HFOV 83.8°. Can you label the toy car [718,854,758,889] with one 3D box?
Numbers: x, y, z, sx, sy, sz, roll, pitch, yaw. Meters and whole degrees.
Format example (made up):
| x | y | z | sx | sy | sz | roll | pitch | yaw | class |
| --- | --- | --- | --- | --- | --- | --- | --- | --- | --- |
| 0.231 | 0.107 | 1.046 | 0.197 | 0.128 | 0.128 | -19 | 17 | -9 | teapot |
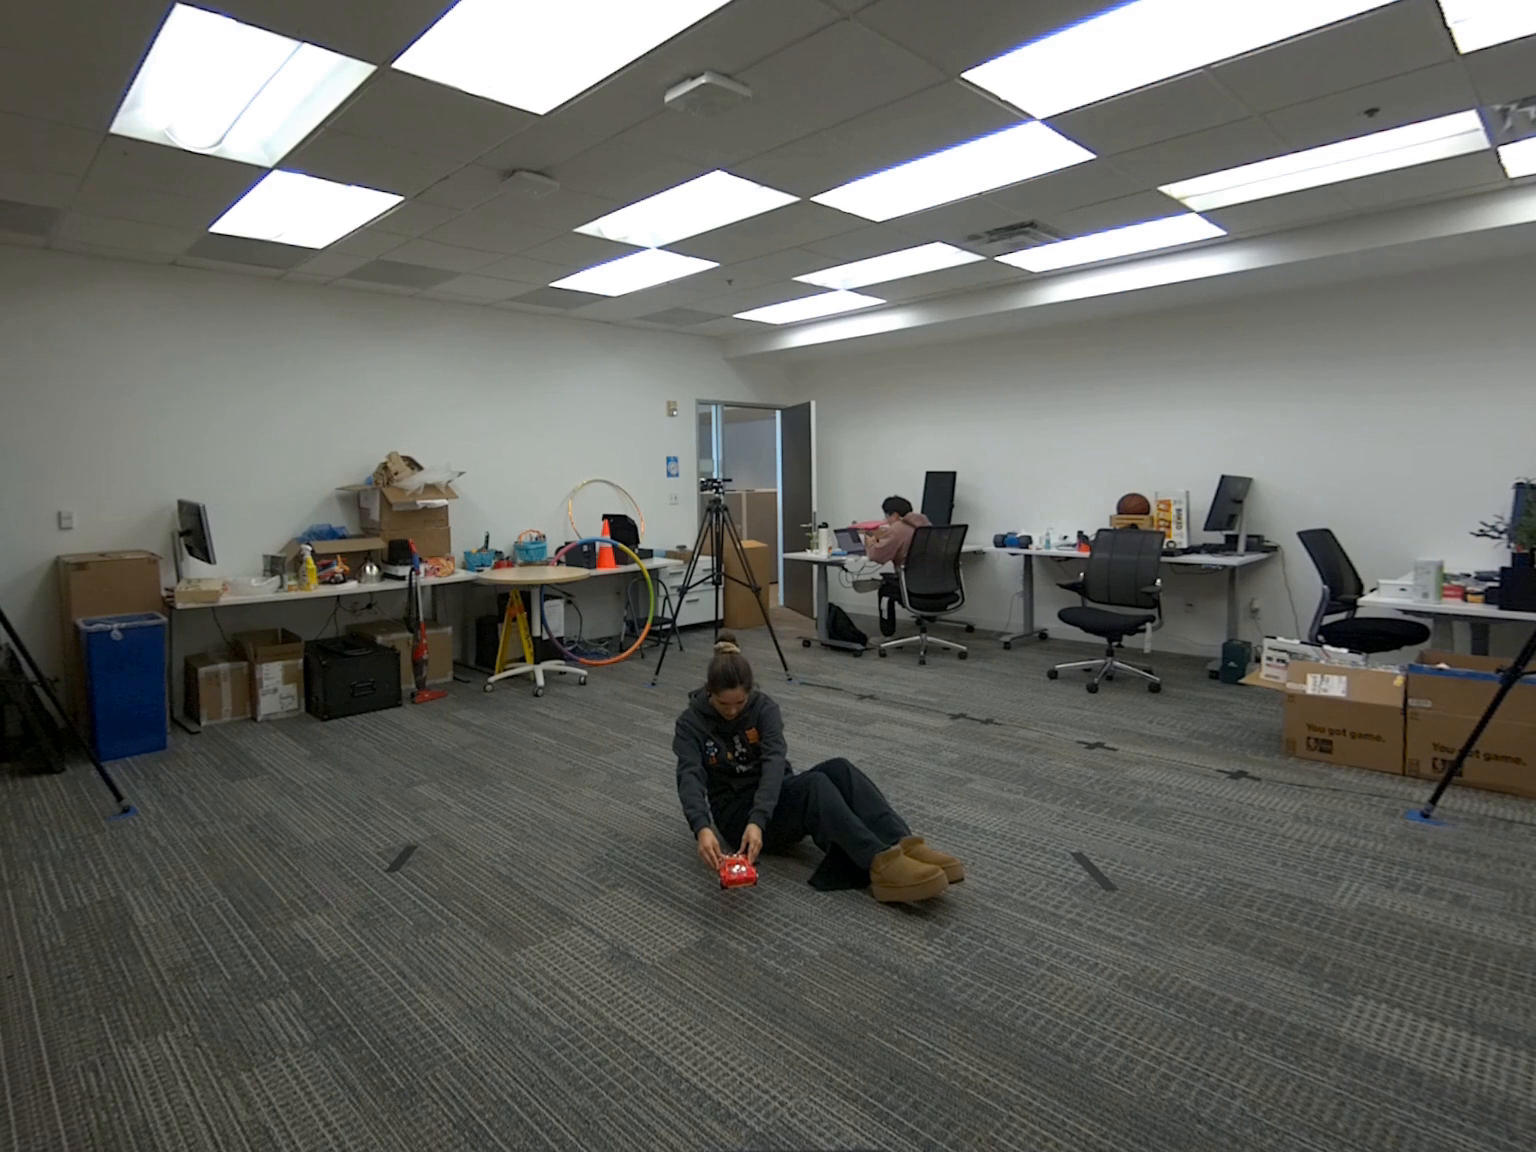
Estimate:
| x | y | z | sx | sy | sz | roll | pitch | yaw | class |
| --- | --- | --- | --- | --- | --- | --- | --- | --- | --- |
| -0.106 | 0.948 | 2.720 | 0.129 | 0.084 | 0.252 | -5 | -12 | -7 | toy car |
